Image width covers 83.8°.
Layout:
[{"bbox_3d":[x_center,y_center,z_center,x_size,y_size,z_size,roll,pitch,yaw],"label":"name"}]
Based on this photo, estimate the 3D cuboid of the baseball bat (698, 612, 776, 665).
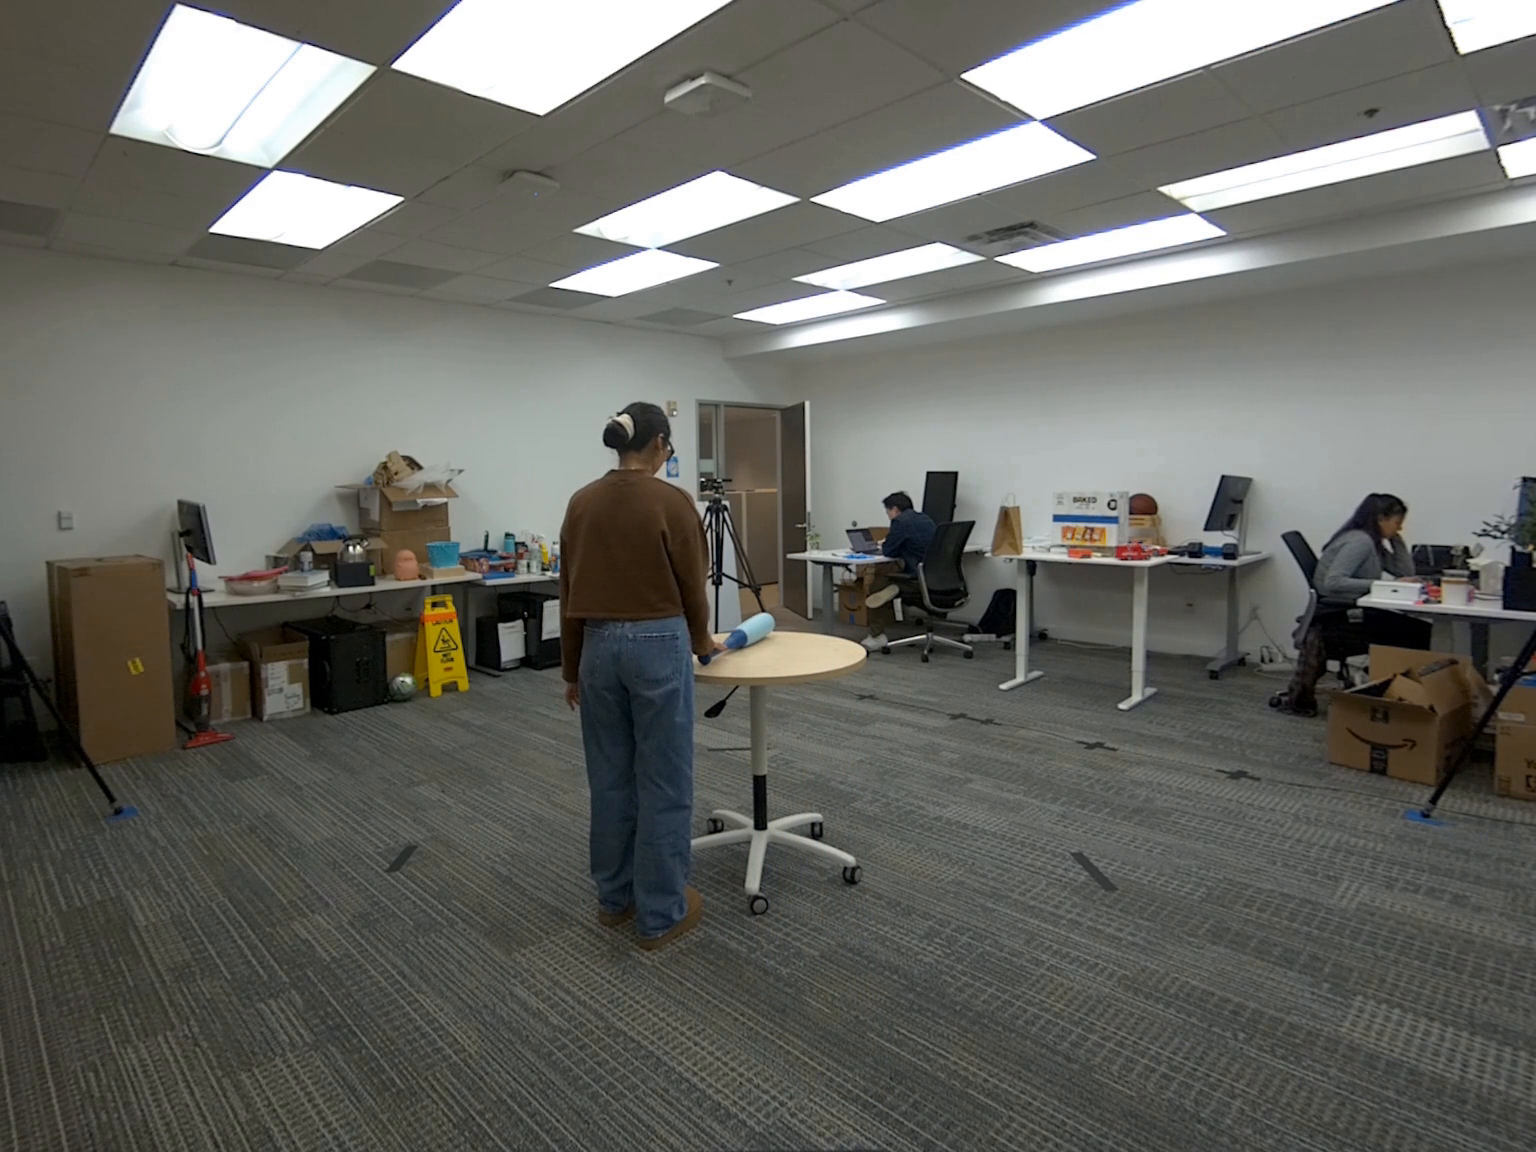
[{"bbox_3d":[-0.111,0.231,3.077,0.091,0.088,0.536,1,10,22],"label":"baseball bat"}]
